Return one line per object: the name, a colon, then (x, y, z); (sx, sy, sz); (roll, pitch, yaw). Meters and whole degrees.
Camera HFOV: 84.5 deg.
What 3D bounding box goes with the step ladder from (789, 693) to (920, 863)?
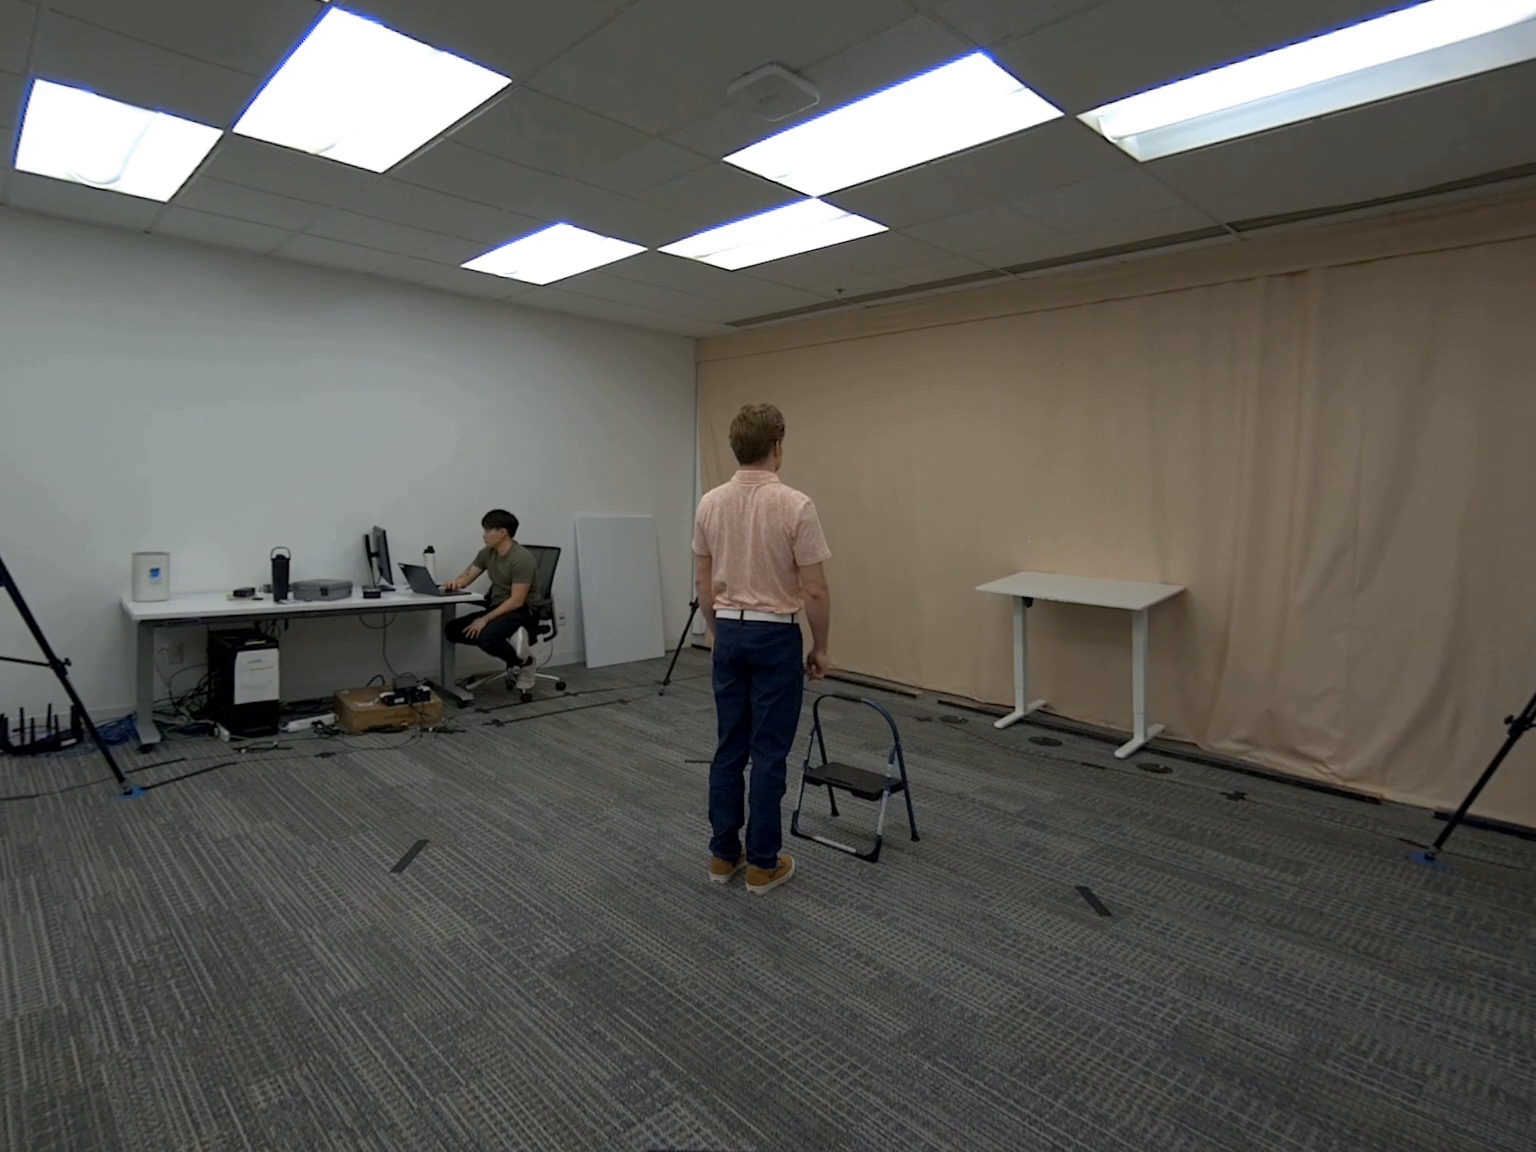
step ladder: (0.358, 0.780, 3.483); (0.441, 0.605, 0.341); (4, 4, 39)
